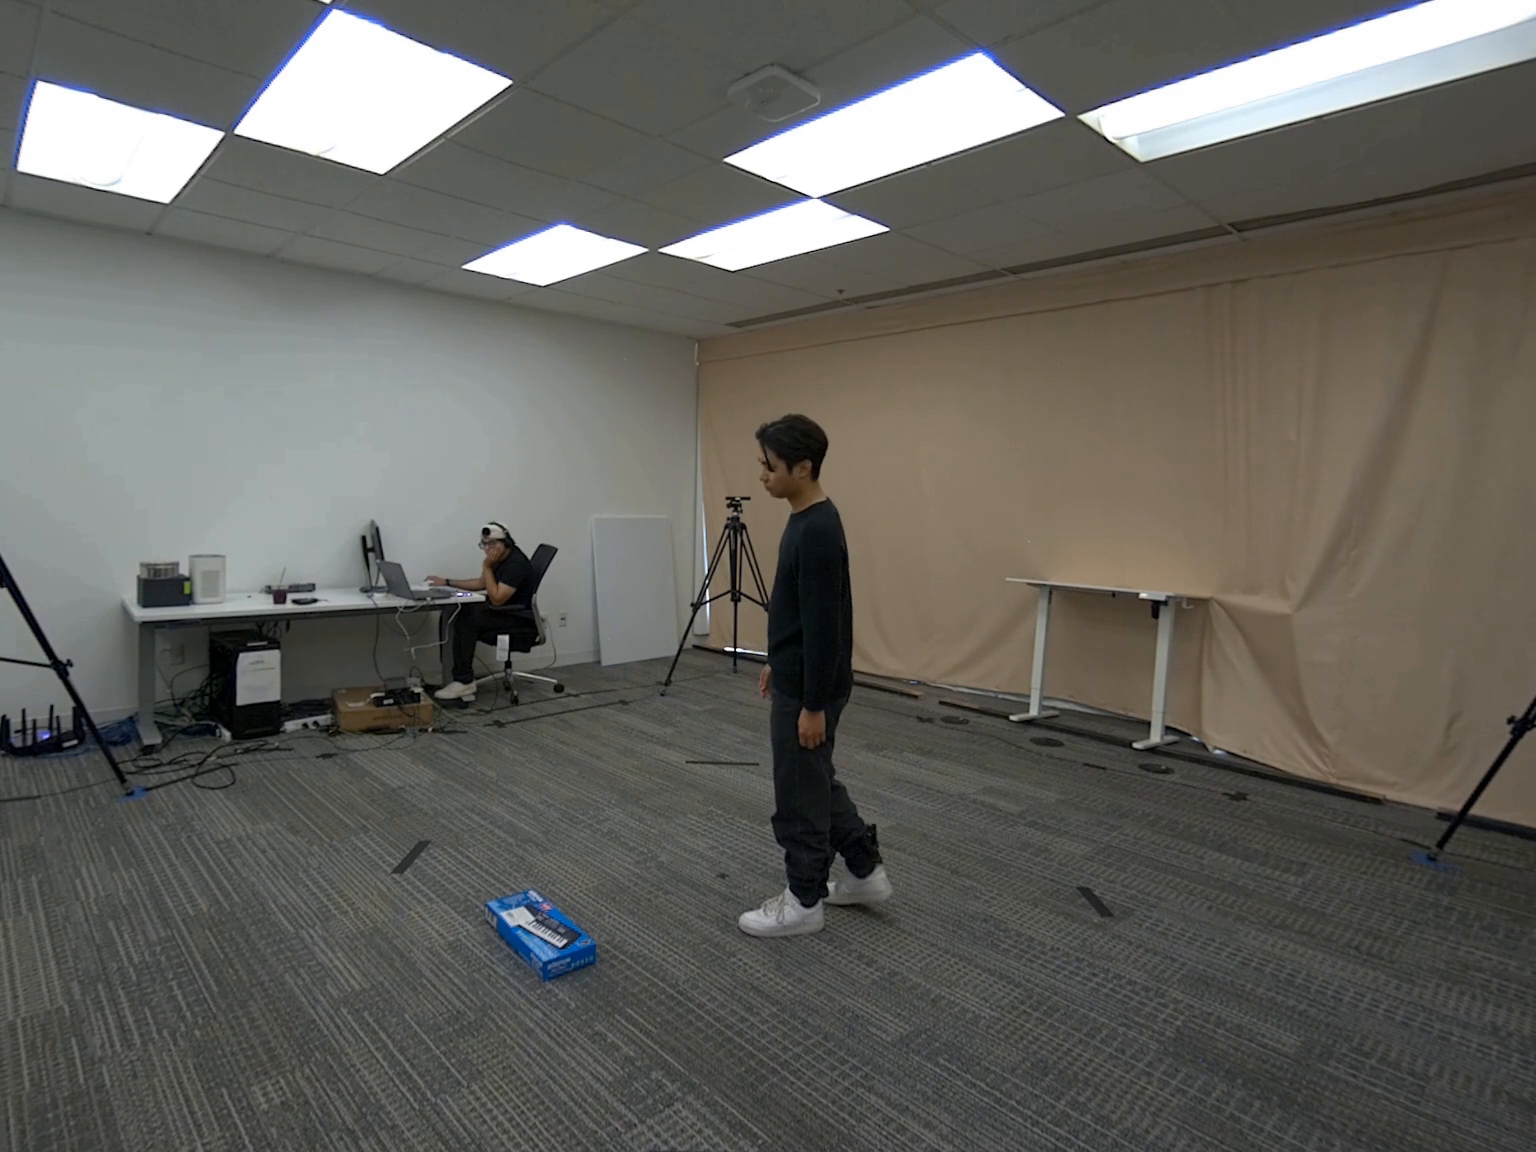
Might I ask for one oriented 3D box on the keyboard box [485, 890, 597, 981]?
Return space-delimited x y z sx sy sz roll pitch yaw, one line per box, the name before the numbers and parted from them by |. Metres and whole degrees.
keyboard box | -0.721 1.110 2.615 0.172 0.059 0.448 -4 7 -40
